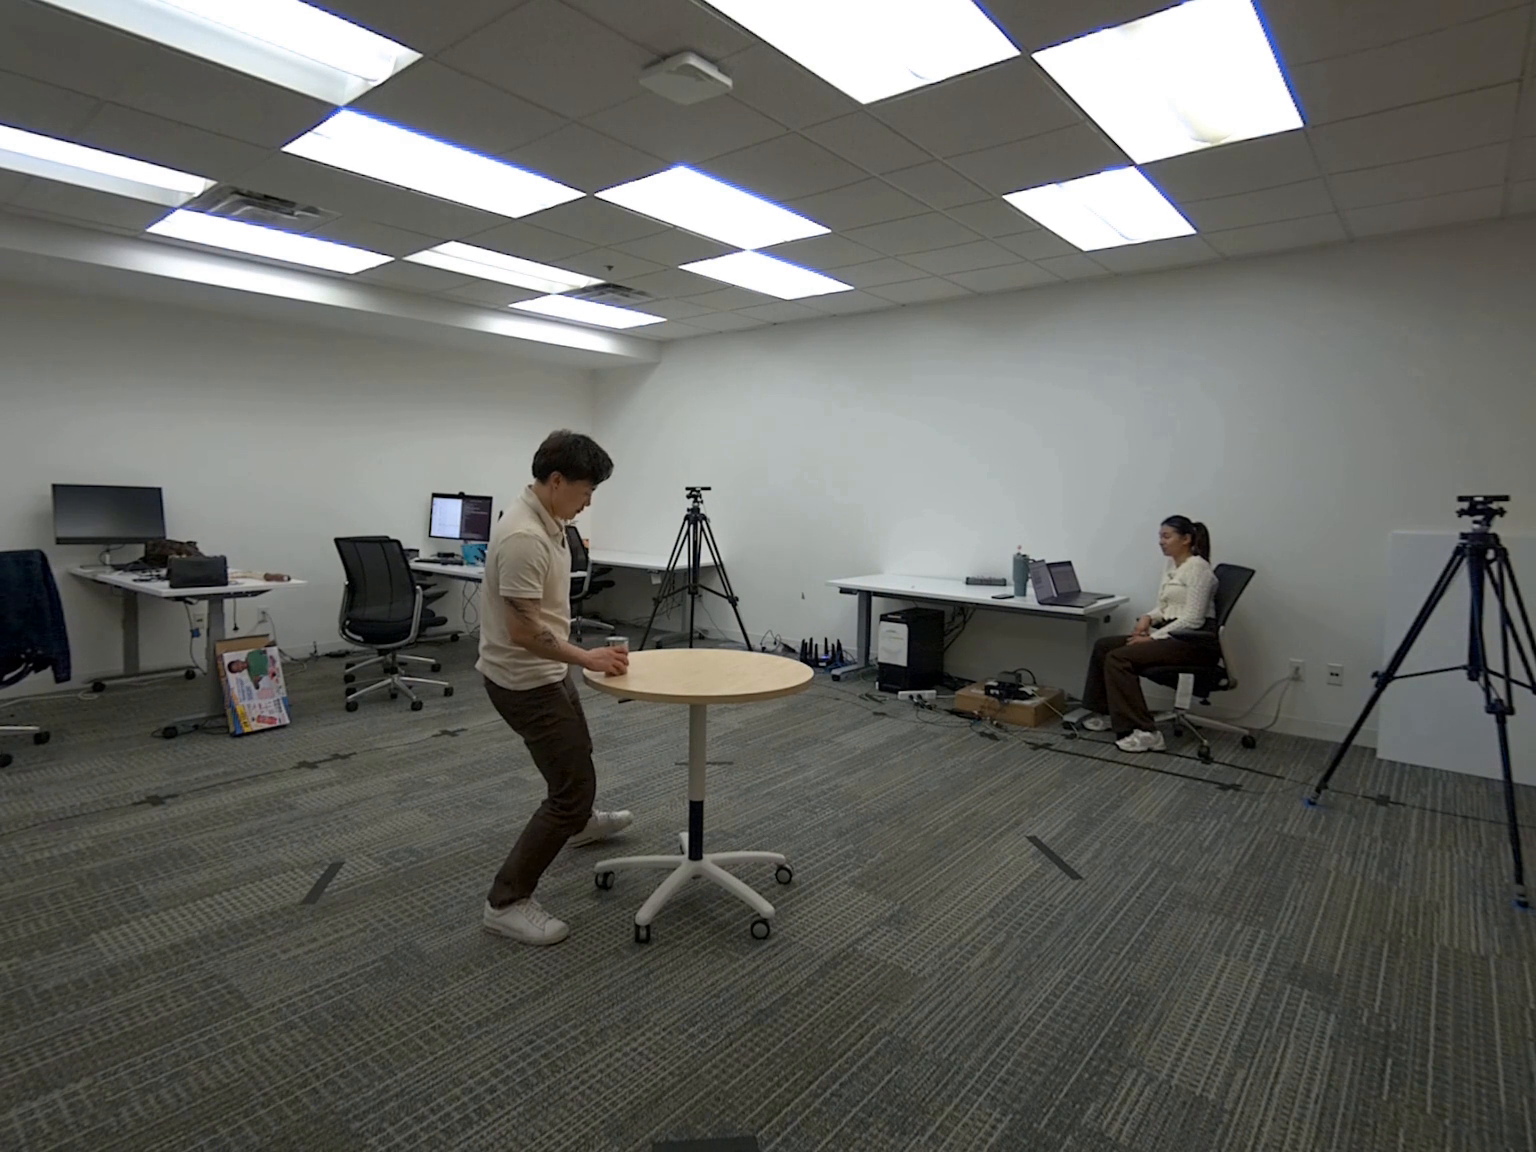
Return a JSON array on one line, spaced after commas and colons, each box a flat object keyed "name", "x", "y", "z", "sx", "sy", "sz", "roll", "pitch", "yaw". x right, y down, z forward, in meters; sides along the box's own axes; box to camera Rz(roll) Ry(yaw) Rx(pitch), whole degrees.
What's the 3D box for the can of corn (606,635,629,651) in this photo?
[{"name": "can of corn", "x": -0.501, "y": 0.259, "z": 2.756, "sx": 0.074, "sy": 0.110, "sz": 0.075, "roll": -3, "pitch": 6, "yaw": -2}]
